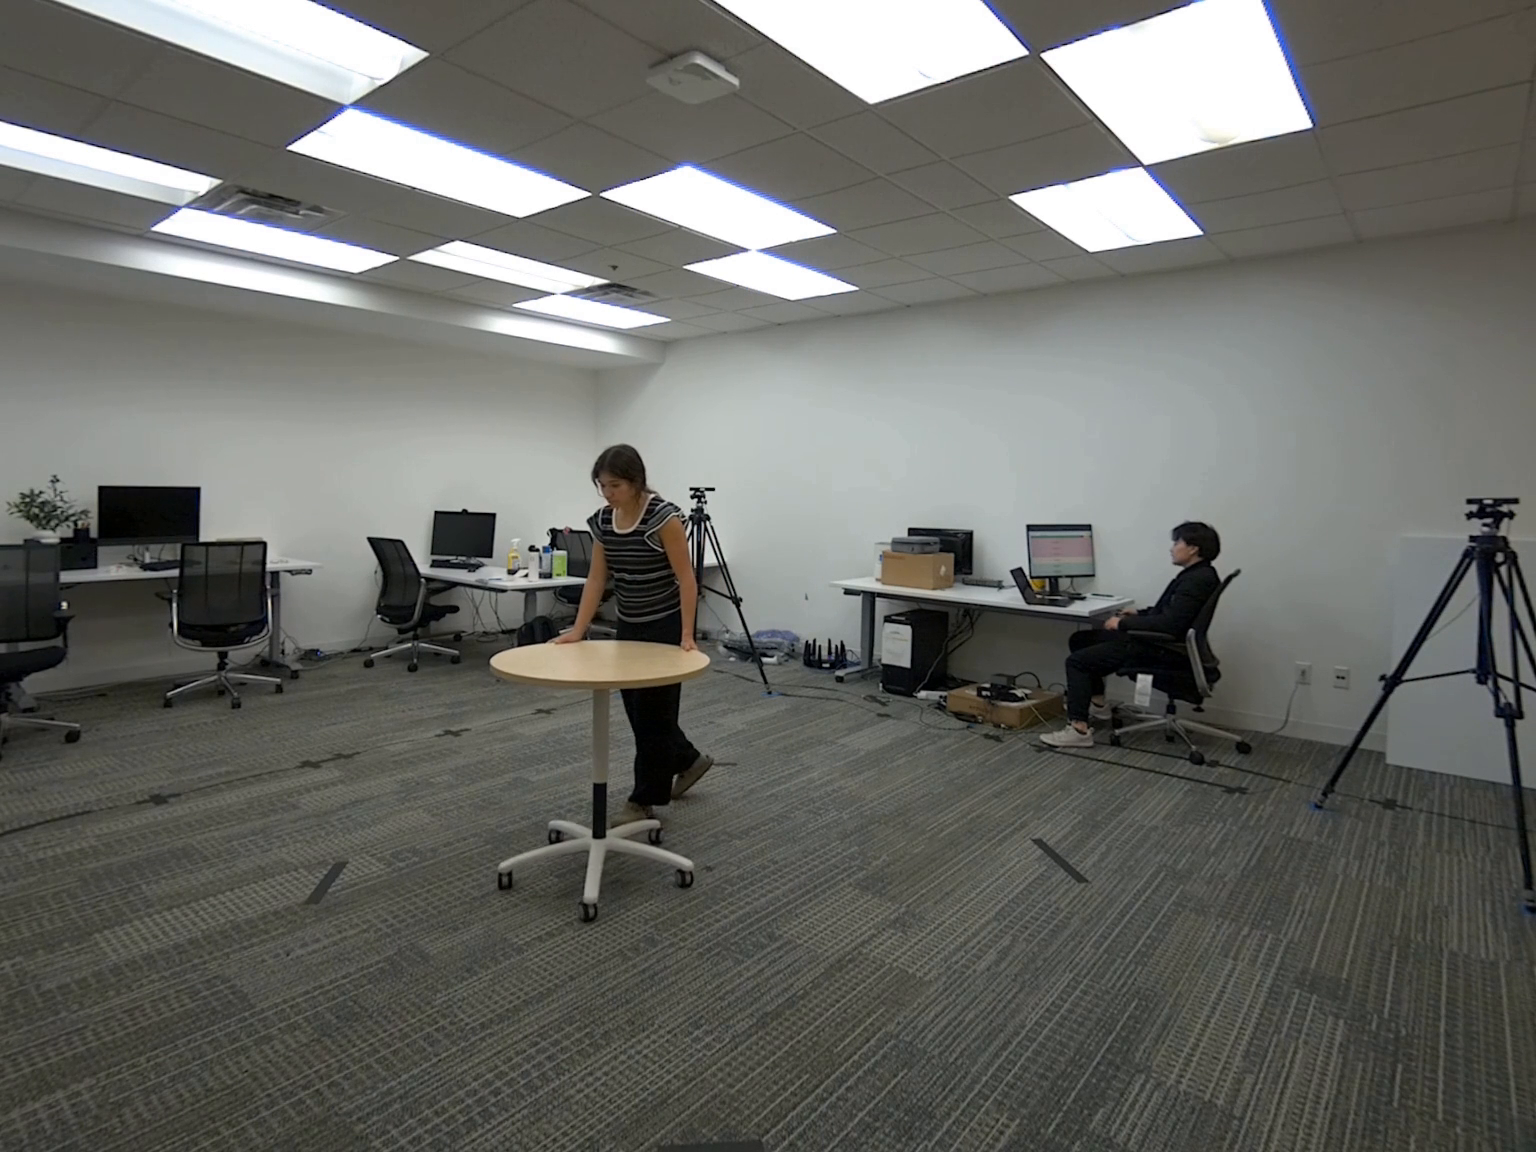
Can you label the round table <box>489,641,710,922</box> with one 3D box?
[{"bbox_3d":[-0.607,0.681,3.021,0.763,0.792,0.767,1,4,-2],"label":"round table"}]
